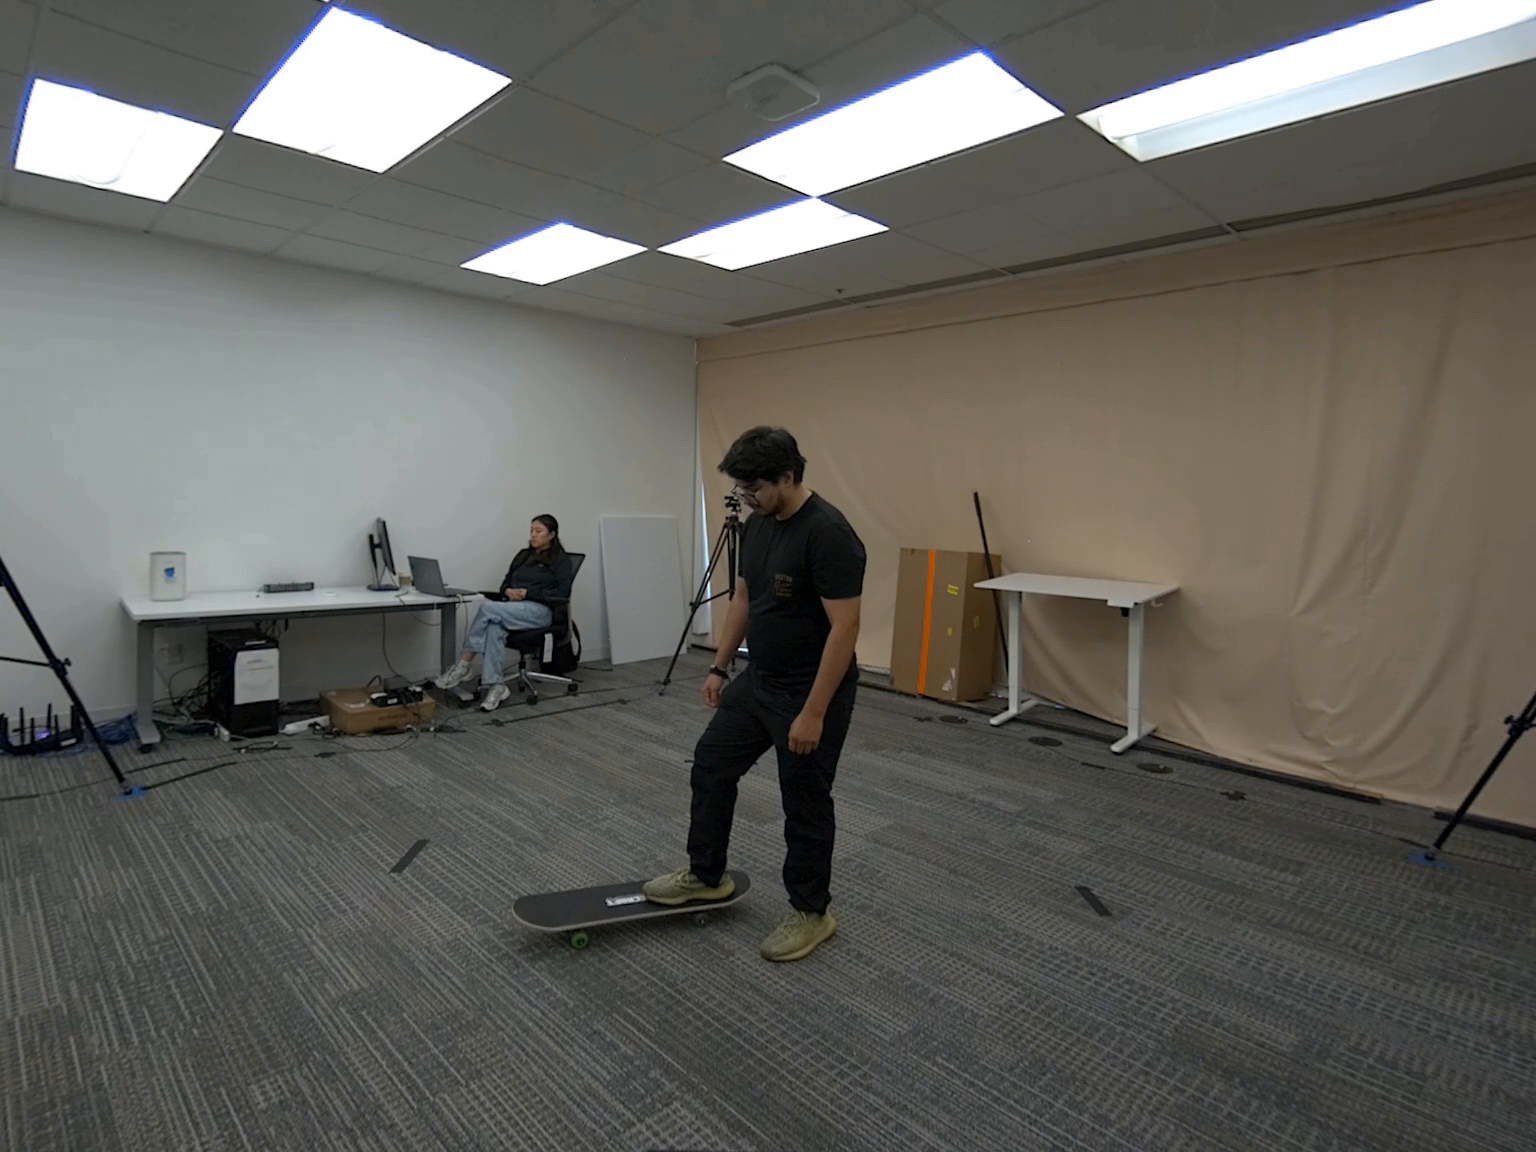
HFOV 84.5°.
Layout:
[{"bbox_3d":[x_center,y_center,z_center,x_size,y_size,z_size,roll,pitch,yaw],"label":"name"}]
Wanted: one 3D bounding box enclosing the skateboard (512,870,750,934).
[{"bbox_3d":[-0.426,1.072,2.720,0.772,0.110,0.198,1,10,-22],"label":"skateboard"}]
